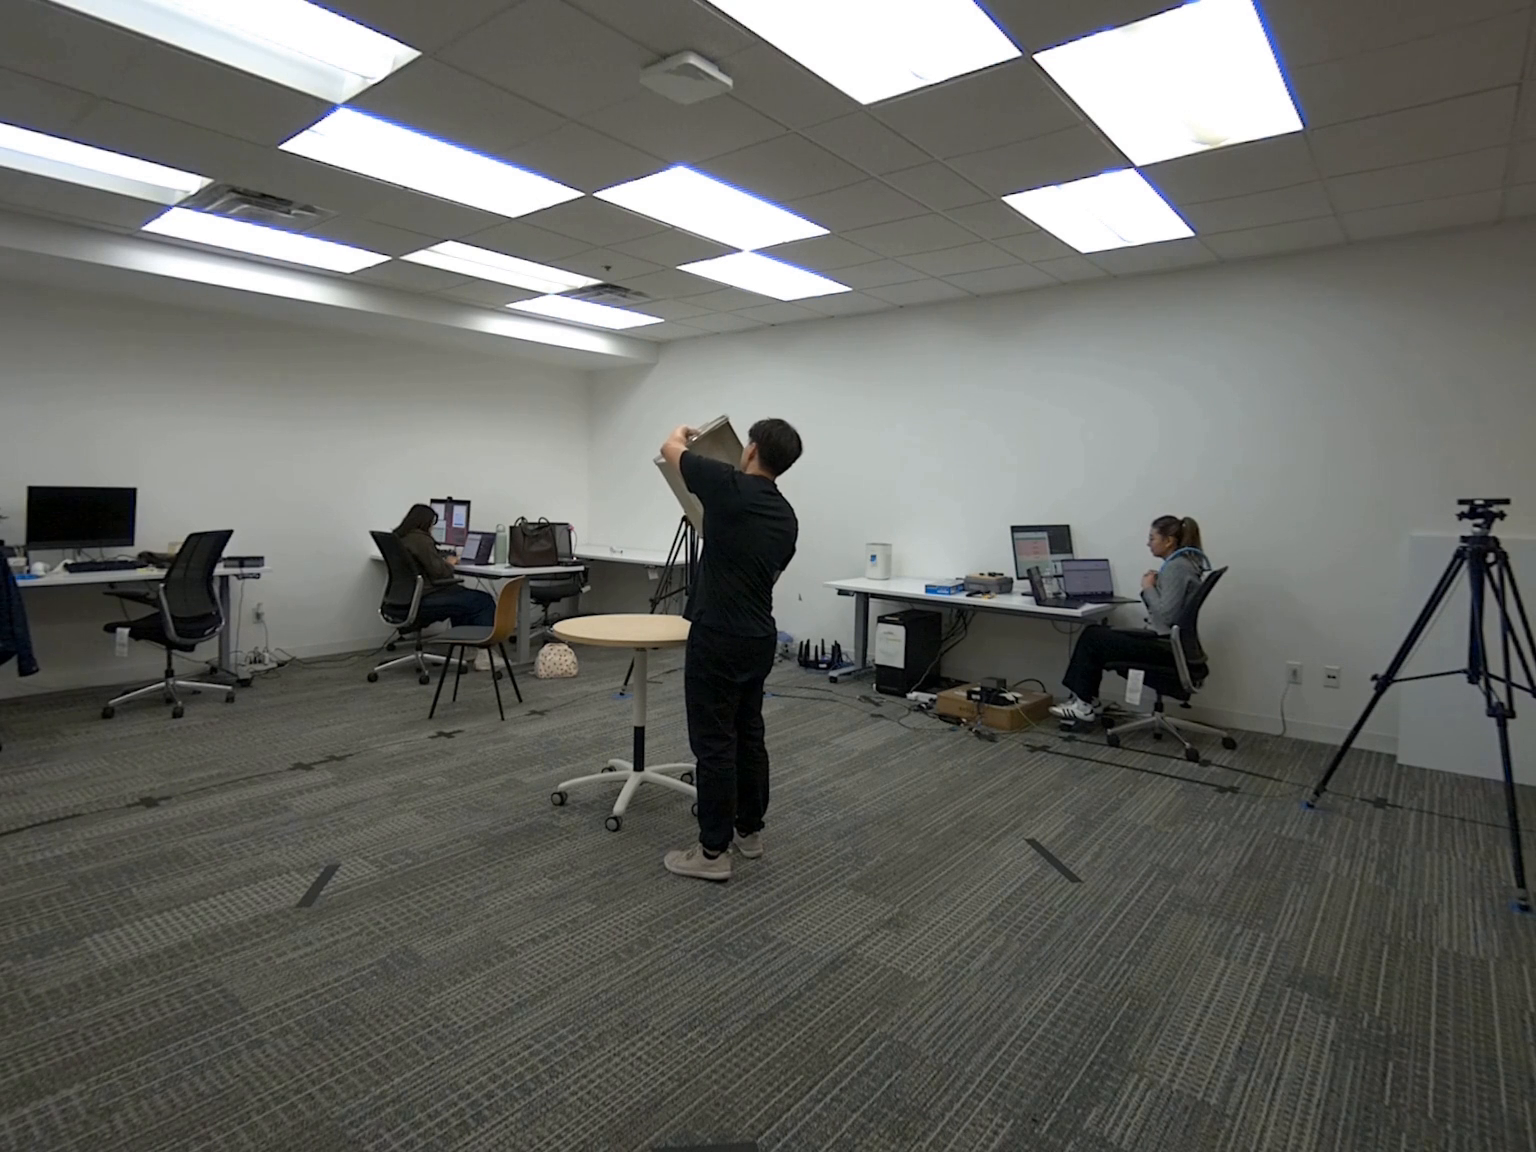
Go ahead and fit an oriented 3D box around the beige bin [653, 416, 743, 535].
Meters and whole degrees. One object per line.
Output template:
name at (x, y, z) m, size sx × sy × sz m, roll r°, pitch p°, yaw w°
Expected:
beige bin at (-0.227, -0.420, 3.624) m, size 0.375 × 0.413 × 0.194 m, roll -37°, pitch 18°, yaw -20°
